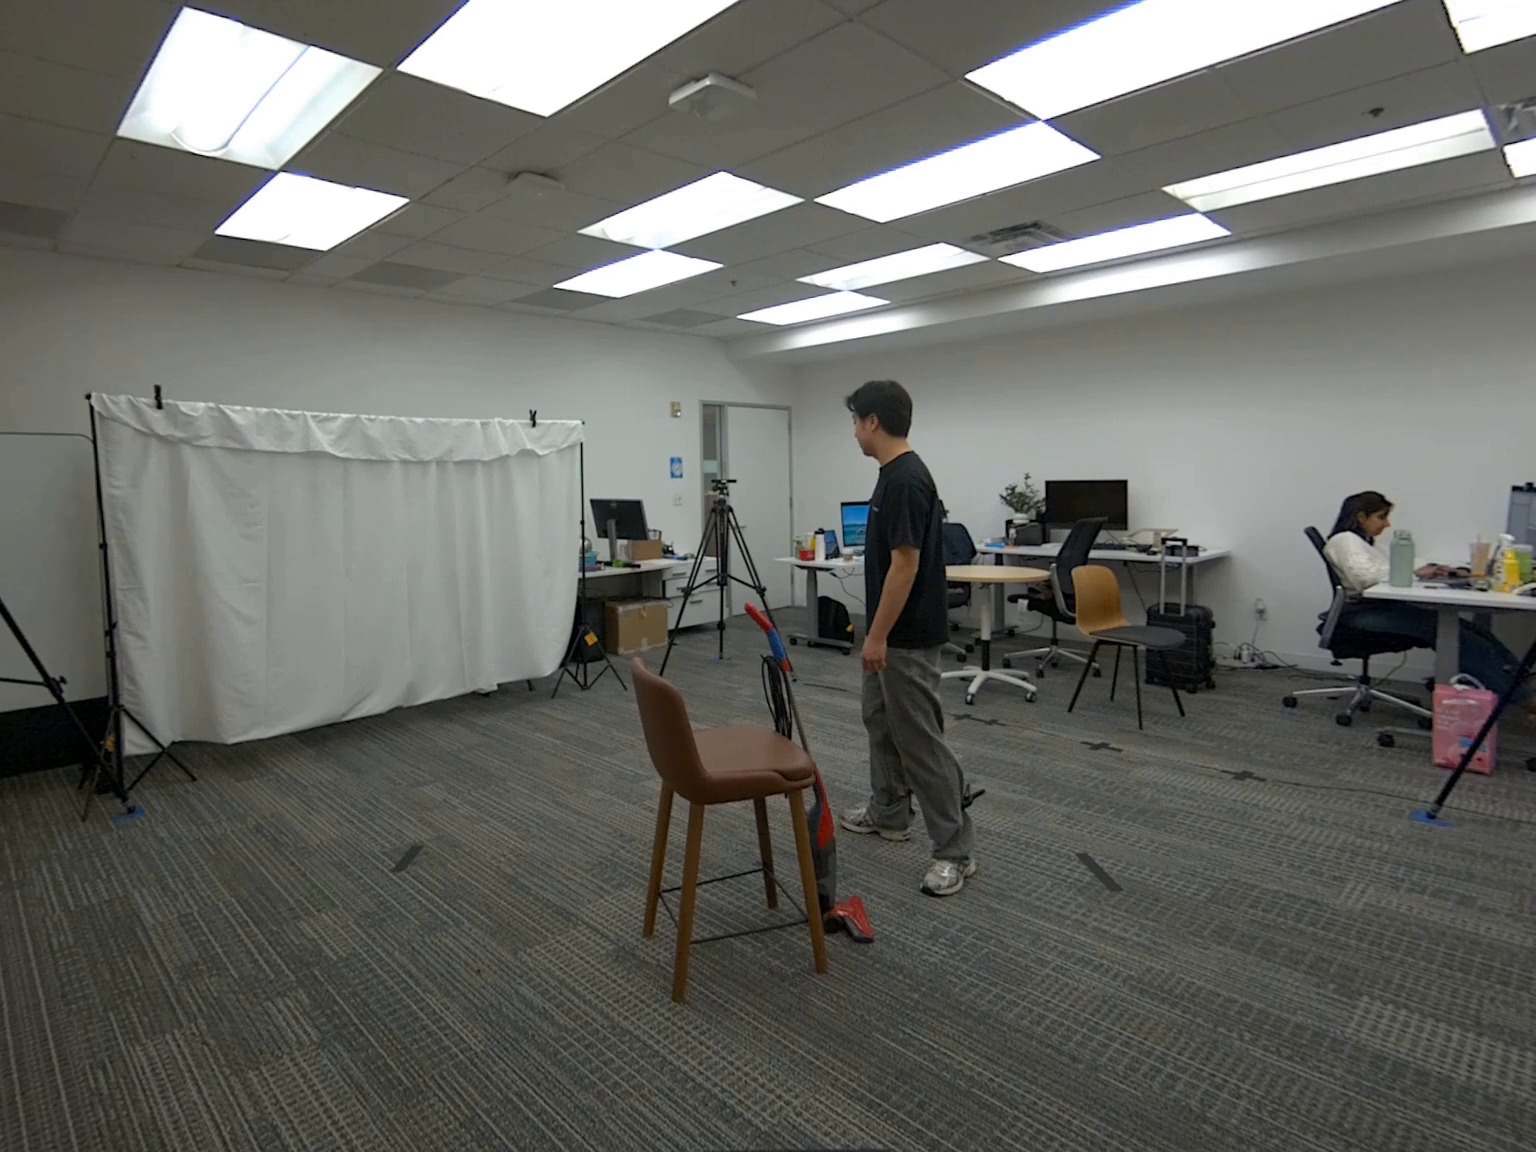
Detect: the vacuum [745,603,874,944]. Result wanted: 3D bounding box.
[{"bbox_3d":[0.084,0.584,2.666,0.144,1.046,0.253,-16,3,3],"label":"vacuum"}]
